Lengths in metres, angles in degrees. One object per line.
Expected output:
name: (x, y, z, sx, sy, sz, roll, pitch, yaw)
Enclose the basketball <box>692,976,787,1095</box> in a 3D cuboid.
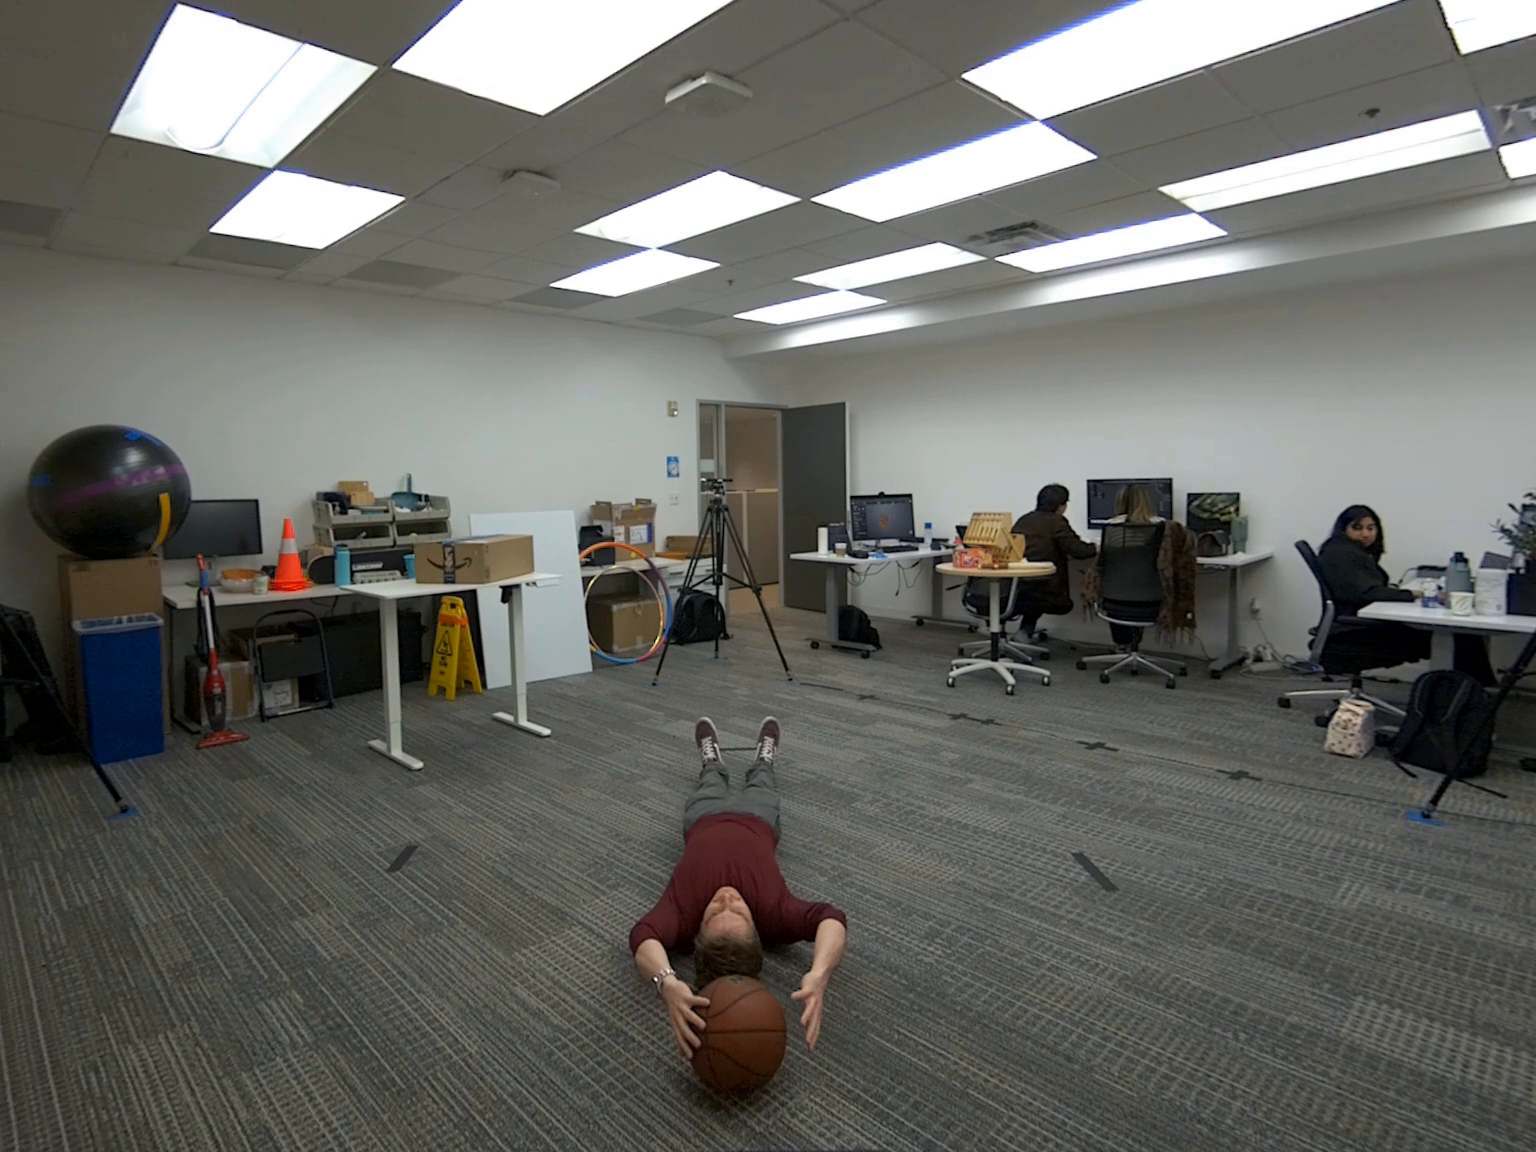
basketball: (-0.075, 1.057, 1.980, 0.236, 0.235, 0.237, -1, 5, -2)
